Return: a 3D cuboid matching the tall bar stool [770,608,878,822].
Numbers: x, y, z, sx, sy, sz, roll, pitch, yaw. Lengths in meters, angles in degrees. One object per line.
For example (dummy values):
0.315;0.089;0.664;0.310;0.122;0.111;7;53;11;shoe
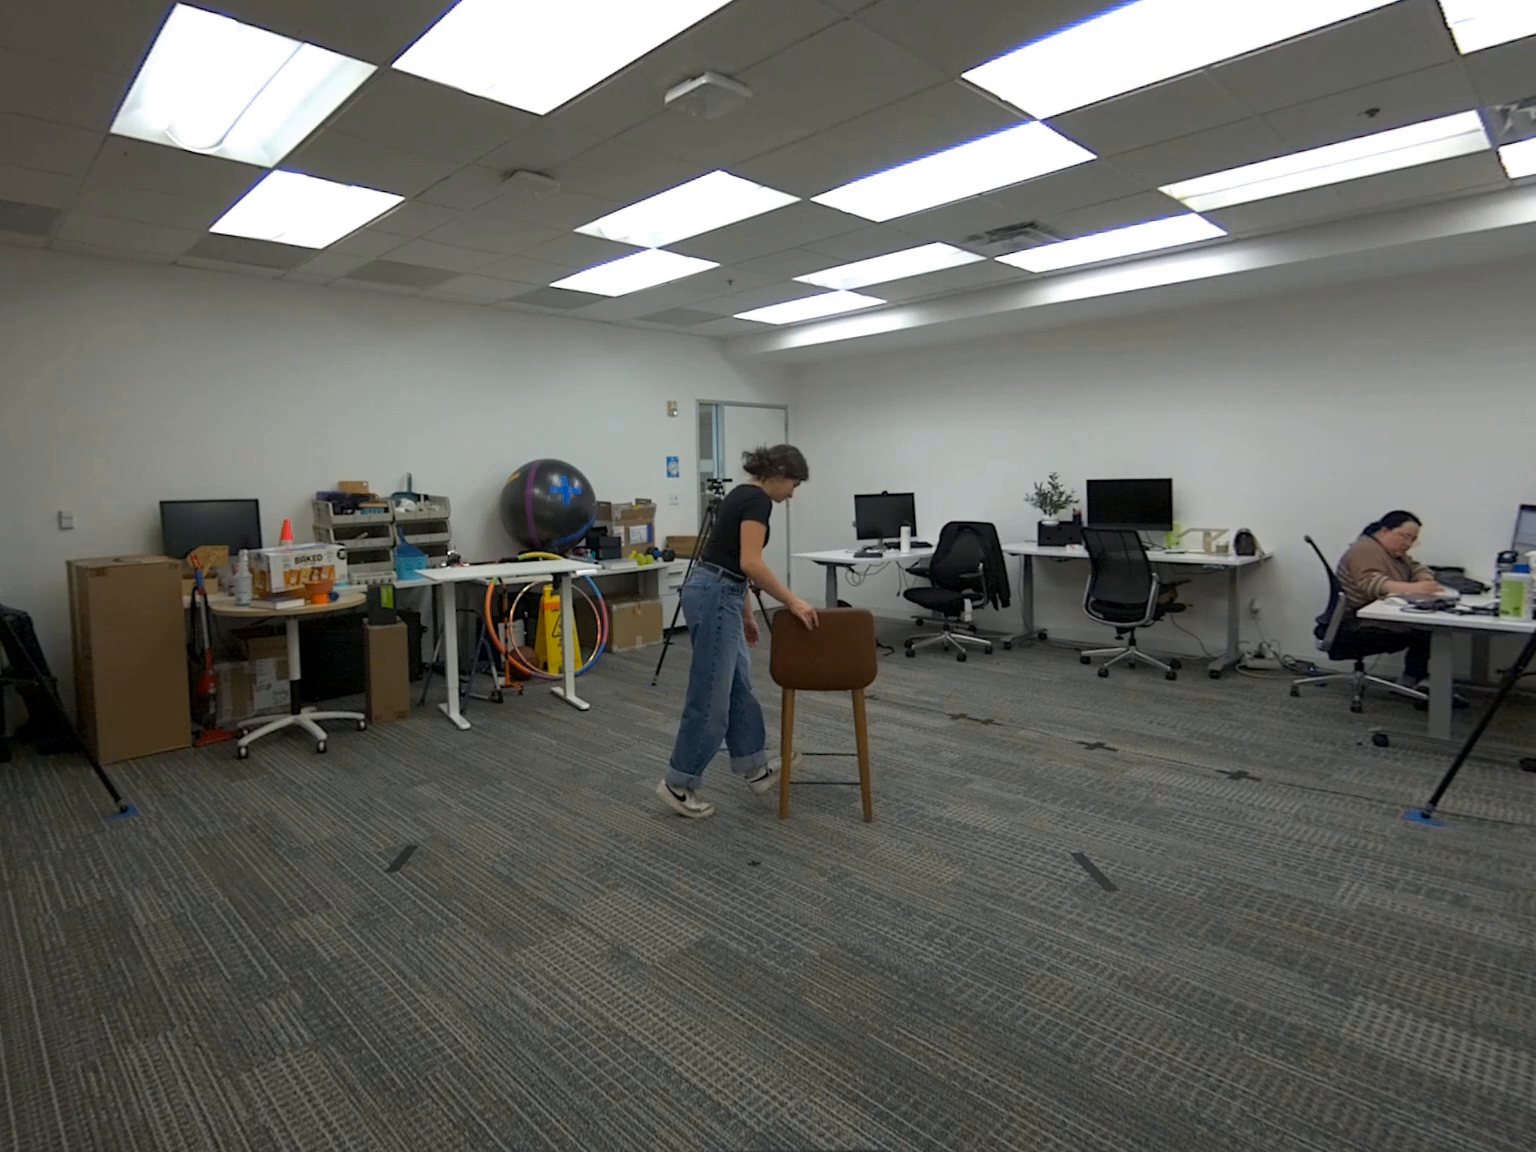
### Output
0.238;0.537;3.674;0.460;0.884;0.467;-1;6;6;tall bar stool
